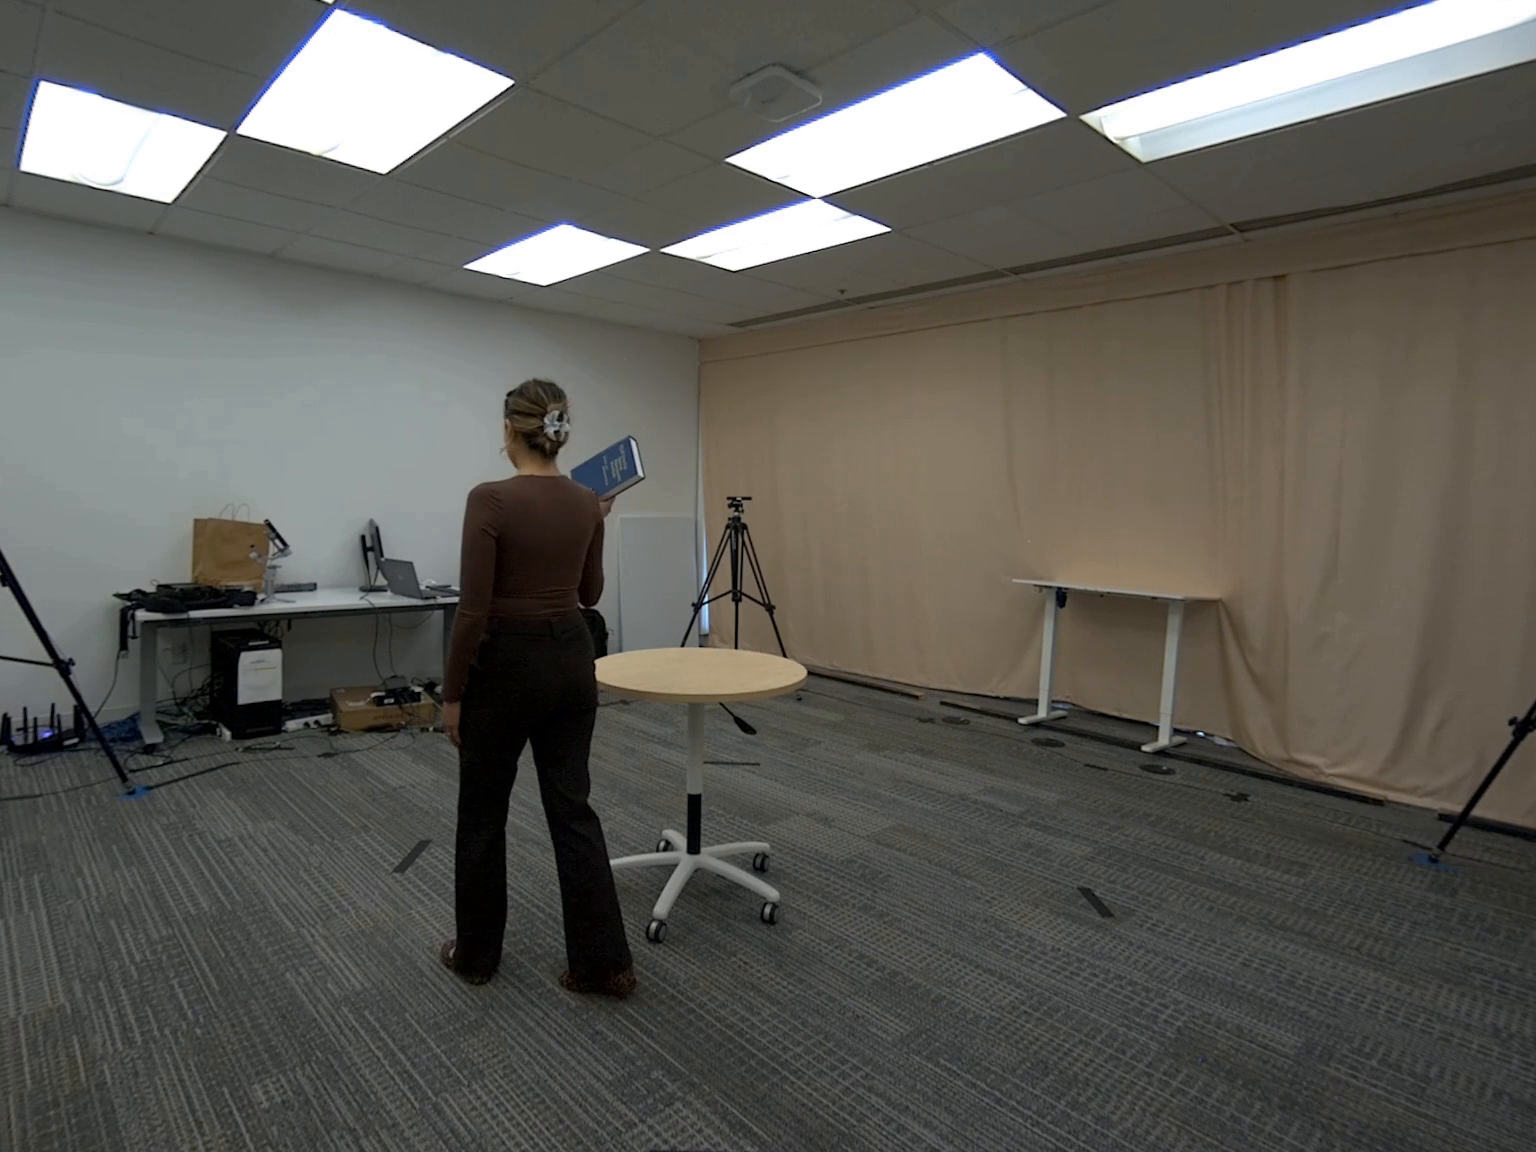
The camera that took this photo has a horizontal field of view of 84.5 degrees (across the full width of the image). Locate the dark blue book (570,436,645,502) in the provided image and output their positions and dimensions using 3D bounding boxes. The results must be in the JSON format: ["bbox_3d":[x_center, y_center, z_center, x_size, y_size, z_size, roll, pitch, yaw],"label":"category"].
[{"bbox_3d":[-0.526,-0.328,2.704,0.246,0.167,0.044,-27,-32,18],"label":"dark blue book"}]
